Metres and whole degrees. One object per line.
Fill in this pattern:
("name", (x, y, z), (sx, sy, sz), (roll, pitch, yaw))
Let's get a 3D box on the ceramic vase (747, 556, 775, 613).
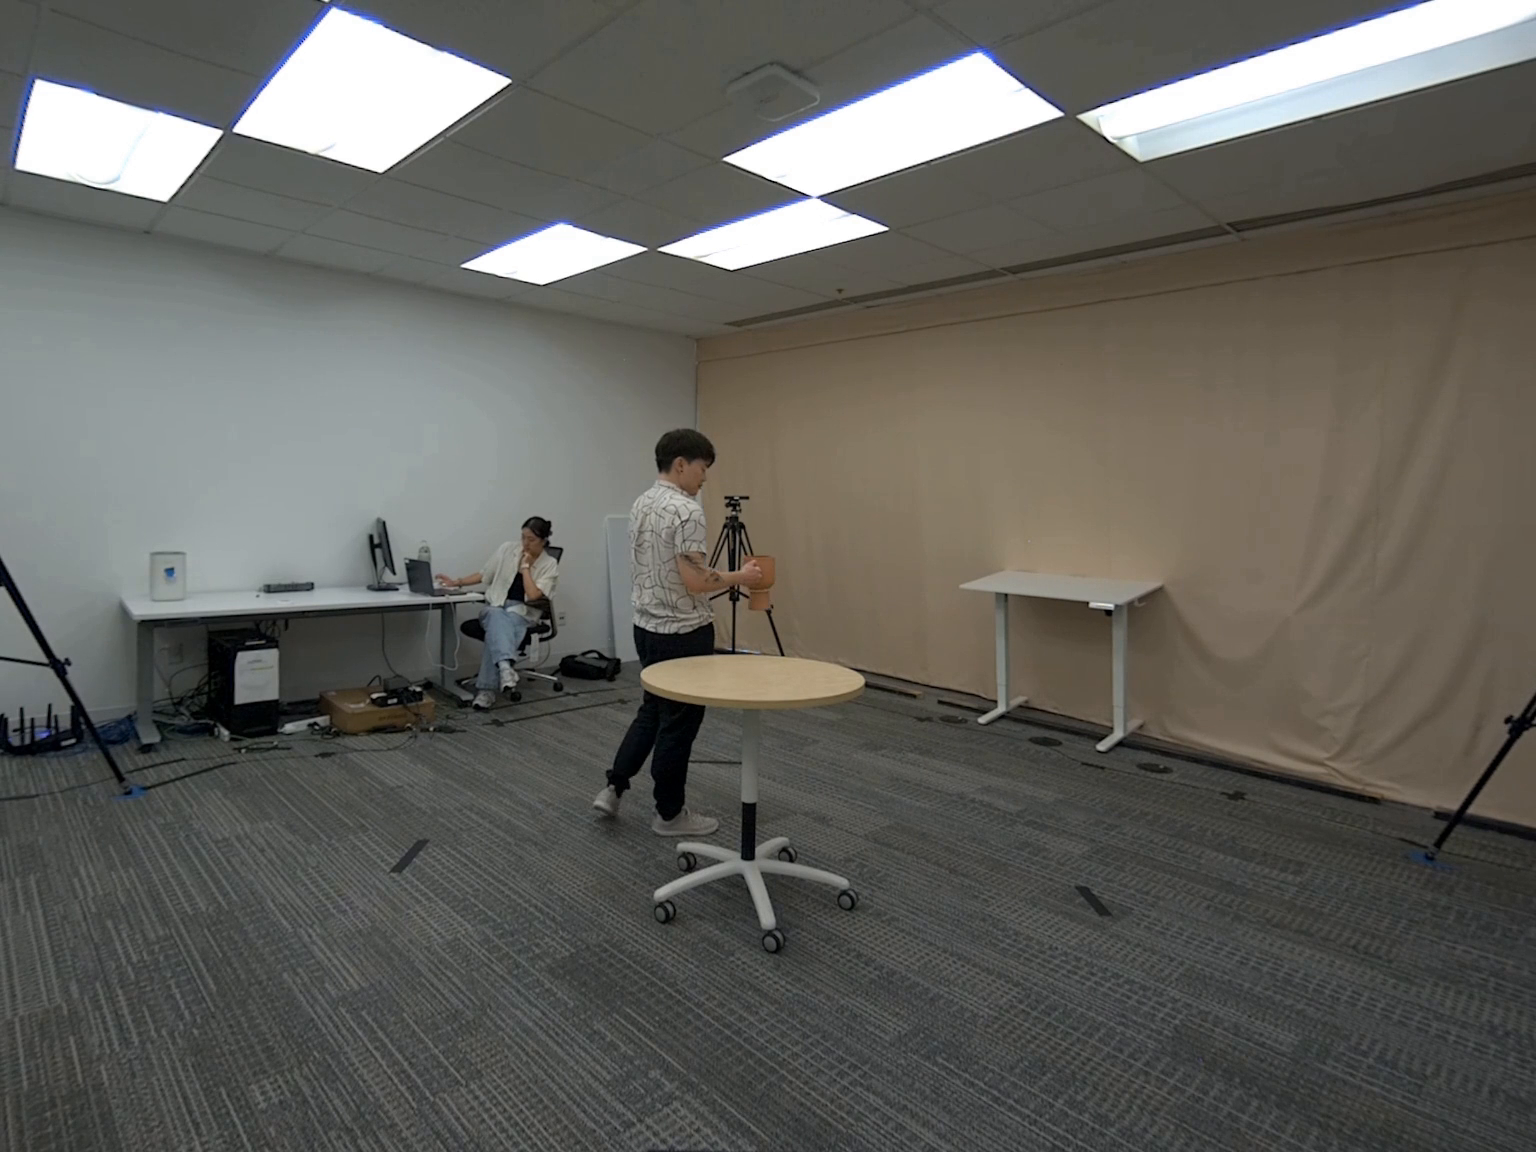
("ceramic vase", (-0.053, 0.030, 3.497), (0.155, 0.220, 0.138), (-1, 1, -40))
